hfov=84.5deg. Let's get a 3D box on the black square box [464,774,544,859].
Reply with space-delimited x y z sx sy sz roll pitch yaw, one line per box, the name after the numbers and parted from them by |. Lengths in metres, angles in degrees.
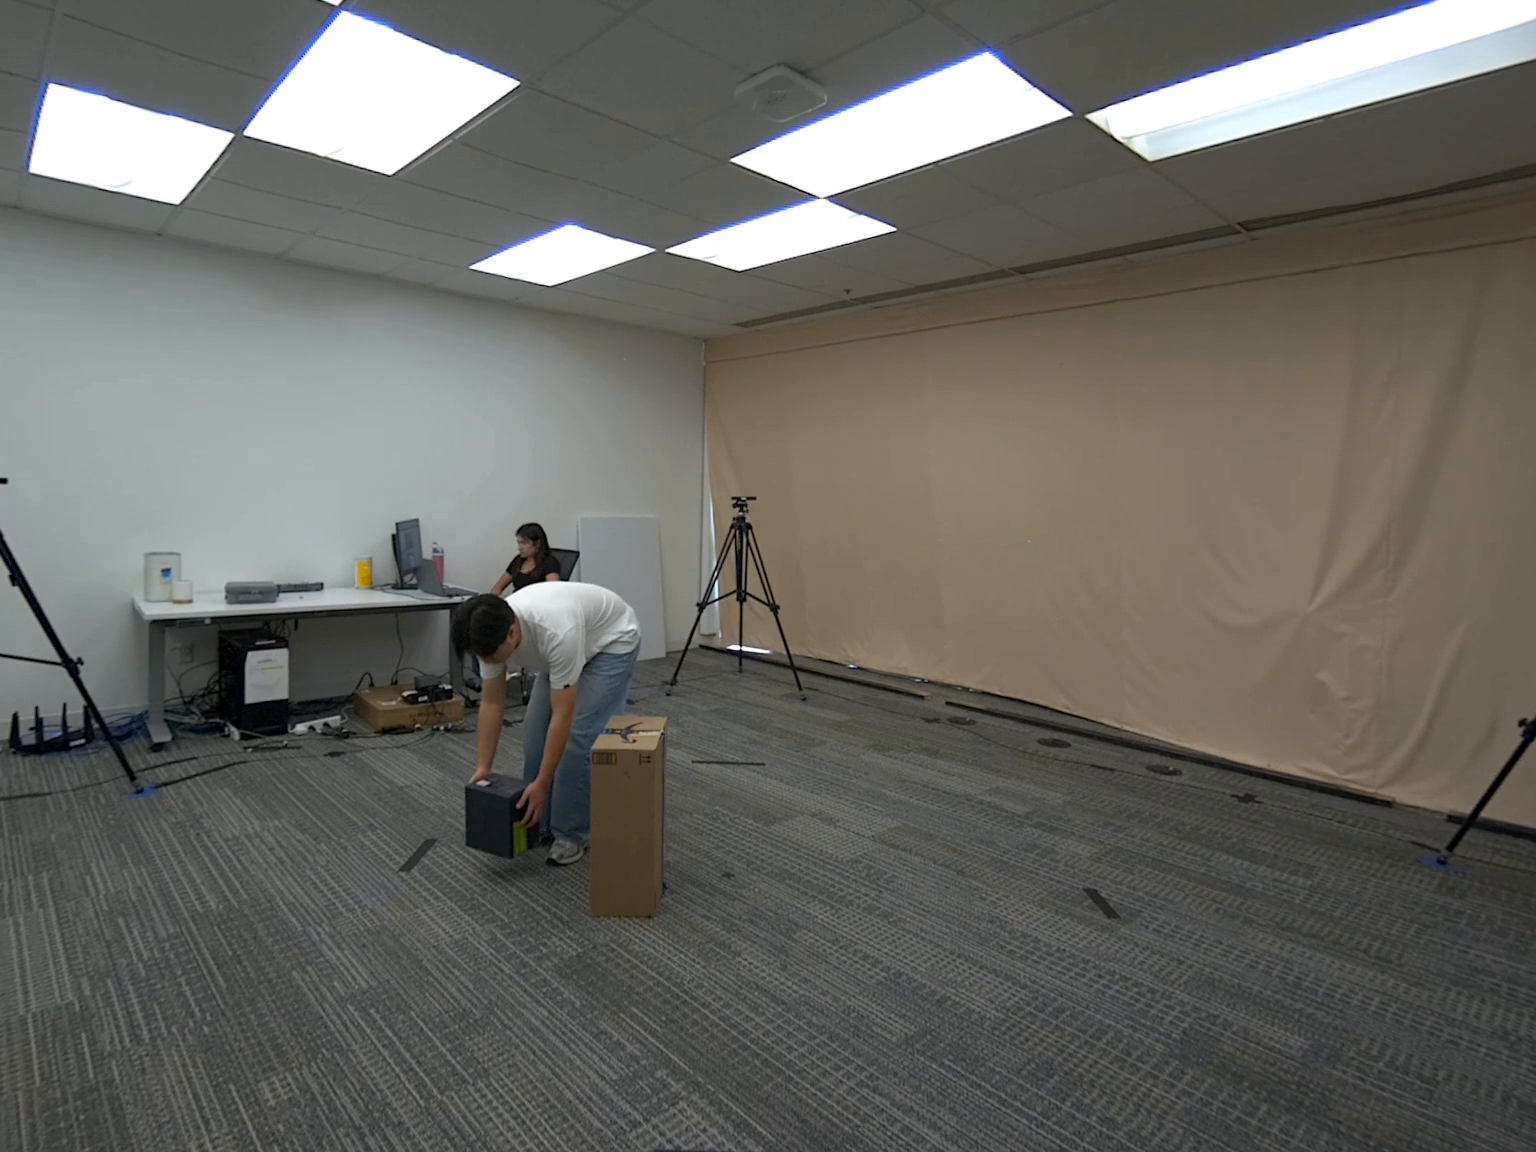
-0.970 0.852 3.063 0.221 0.226 0.154 5 9 25 | black square box
